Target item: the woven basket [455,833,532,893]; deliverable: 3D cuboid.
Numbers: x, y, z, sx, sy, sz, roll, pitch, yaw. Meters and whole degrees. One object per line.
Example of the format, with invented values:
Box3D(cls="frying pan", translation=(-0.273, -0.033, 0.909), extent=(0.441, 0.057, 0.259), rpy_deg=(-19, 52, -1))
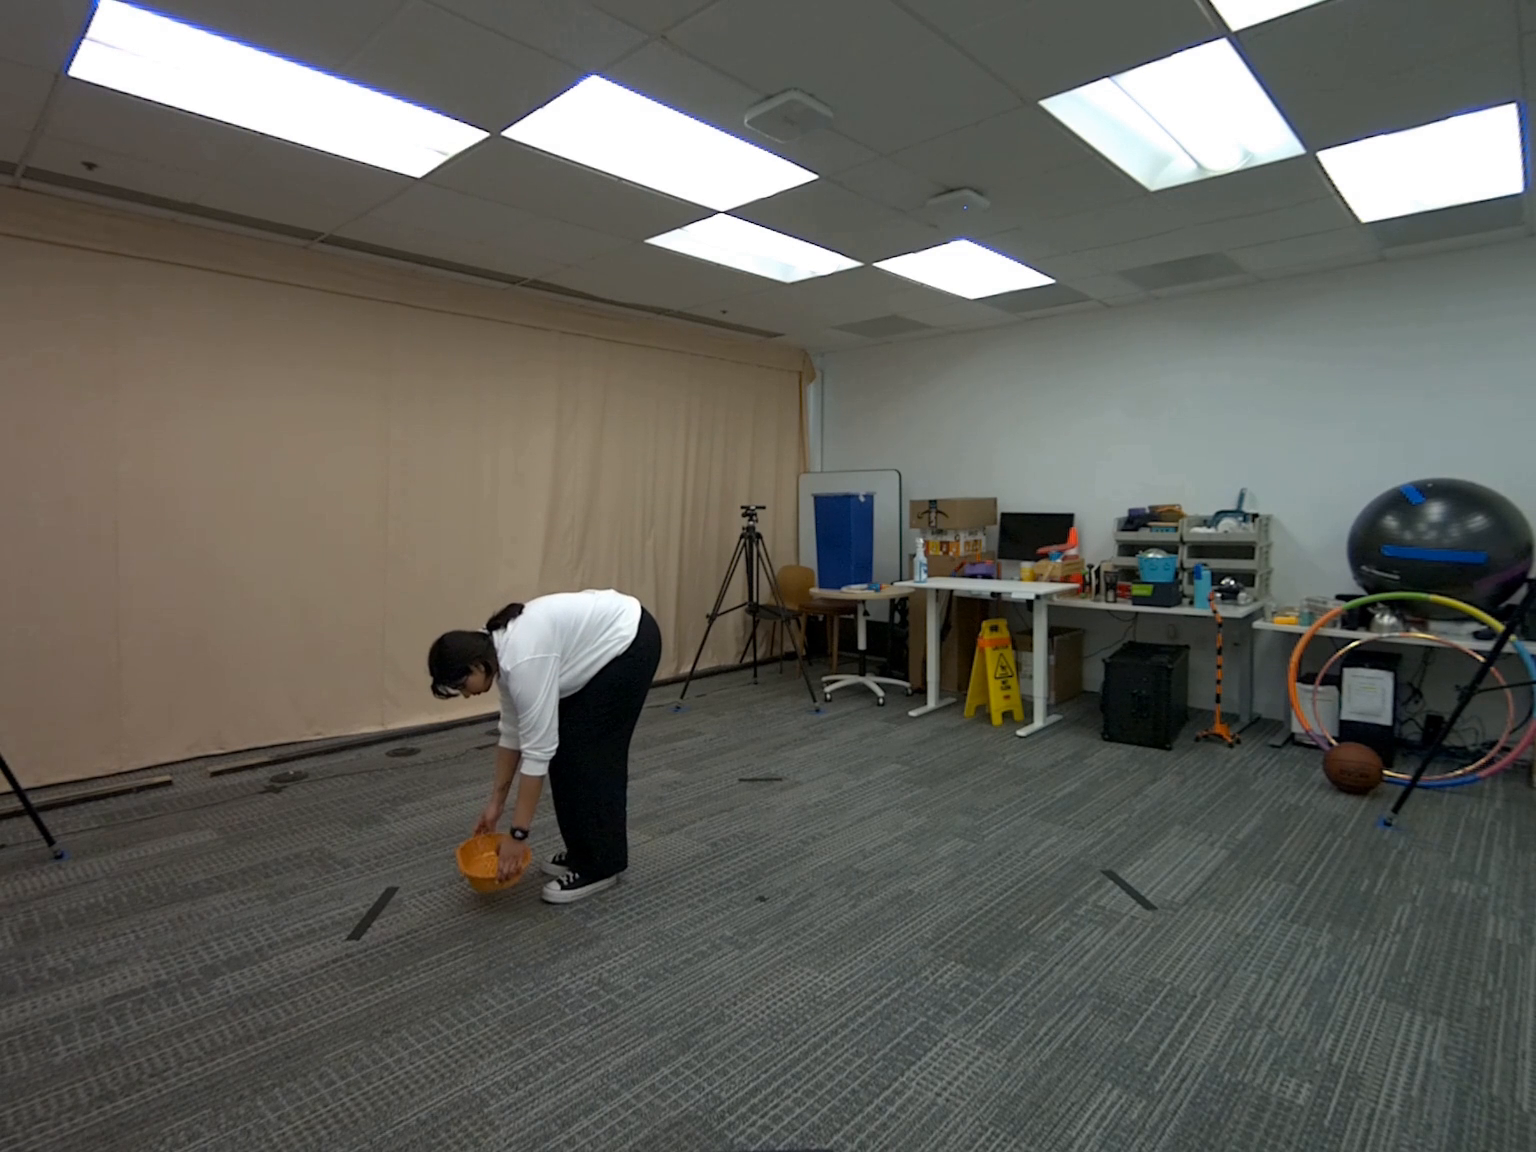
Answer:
Box3D(cls="woven basket", translation=(-0.966, 1.015, 2.957), extent=(0.245, 0.073, 0.361), rpy_deg=(-4, 8, -34))
